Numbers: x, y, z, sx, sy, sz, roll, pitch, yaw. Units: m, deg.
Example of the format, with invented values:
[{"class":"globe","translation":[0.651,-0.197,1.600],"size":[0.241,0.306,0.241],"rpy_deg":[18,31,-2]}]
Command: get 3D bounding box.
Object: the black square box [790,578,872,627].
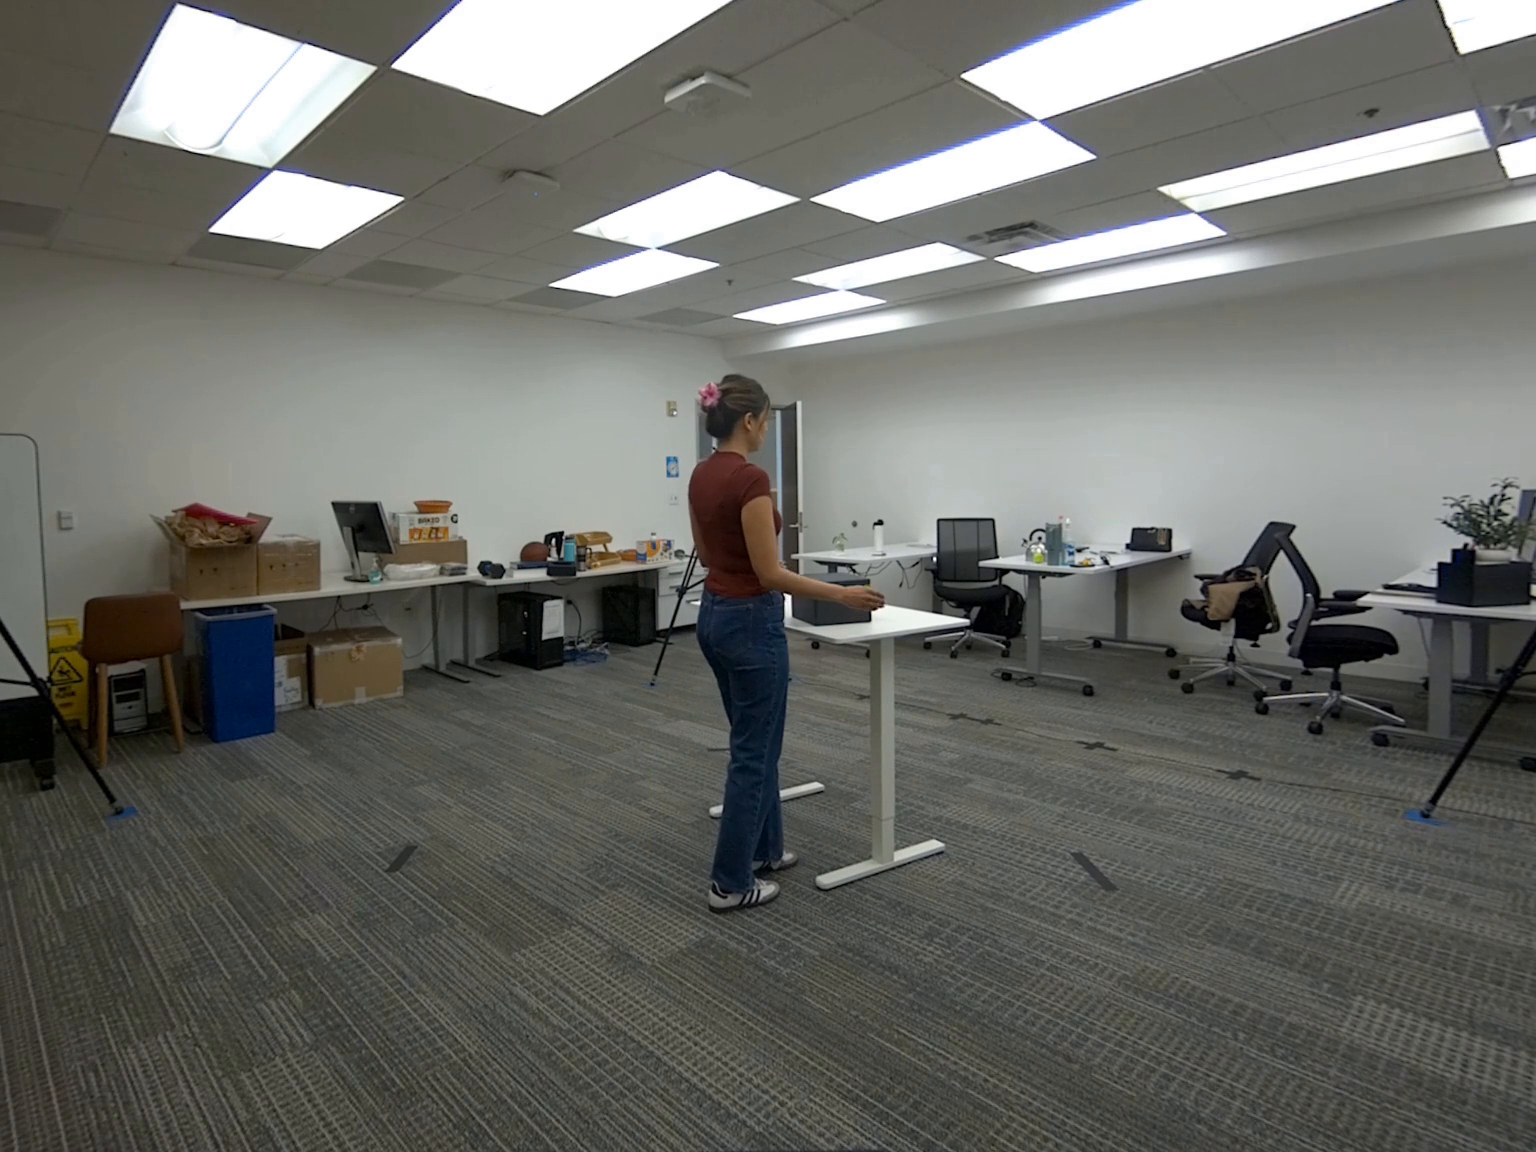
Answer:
[{"class":"black square box","translation":[0.229,0.081,3.099],"size":[0.214,0.155,0.232],"rpy_deg":[-3,6,-17]}]
